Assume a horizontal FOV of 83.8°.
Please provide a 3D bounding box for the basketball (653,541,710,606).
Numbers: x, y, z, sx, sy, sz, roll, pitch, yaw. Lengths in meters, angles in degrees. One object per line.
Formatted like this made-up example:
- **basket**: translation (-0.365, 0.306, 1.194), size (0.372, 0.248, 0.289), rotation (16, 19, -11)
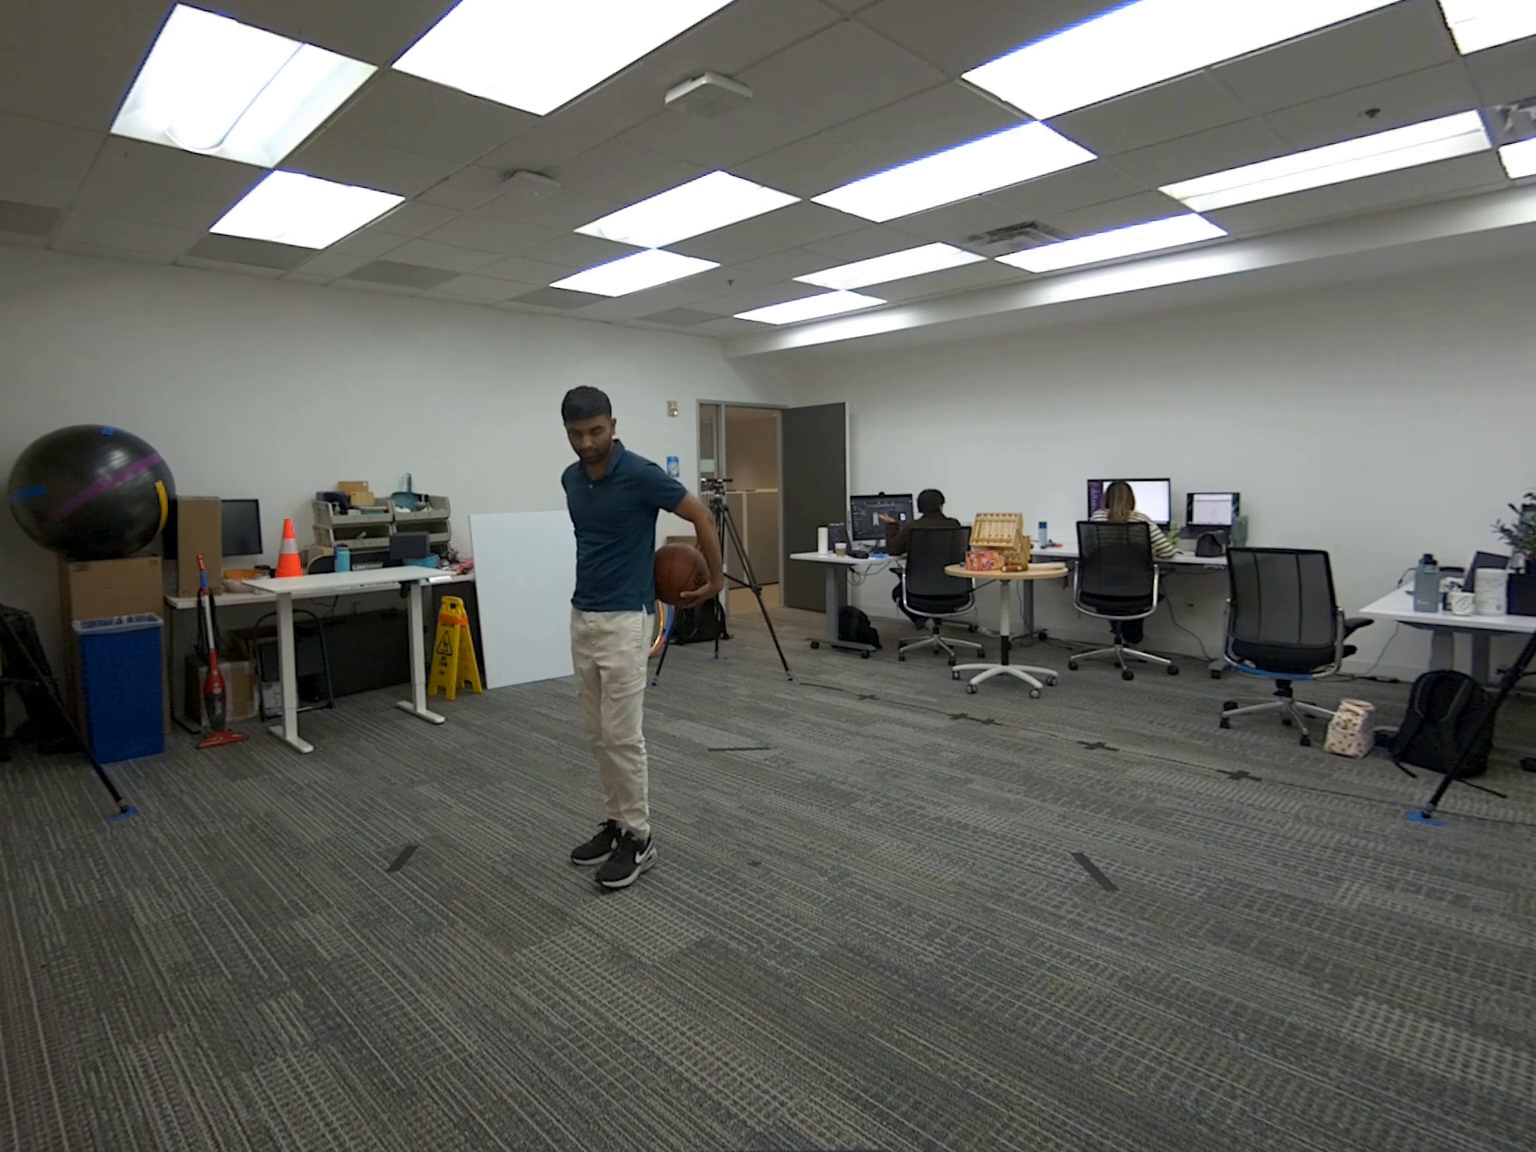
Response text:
- **basketball**: translation (-0.337, -0.008, 3.227), size (0.236, 0.235, 0.237), rotation (-1, 5, -2)
